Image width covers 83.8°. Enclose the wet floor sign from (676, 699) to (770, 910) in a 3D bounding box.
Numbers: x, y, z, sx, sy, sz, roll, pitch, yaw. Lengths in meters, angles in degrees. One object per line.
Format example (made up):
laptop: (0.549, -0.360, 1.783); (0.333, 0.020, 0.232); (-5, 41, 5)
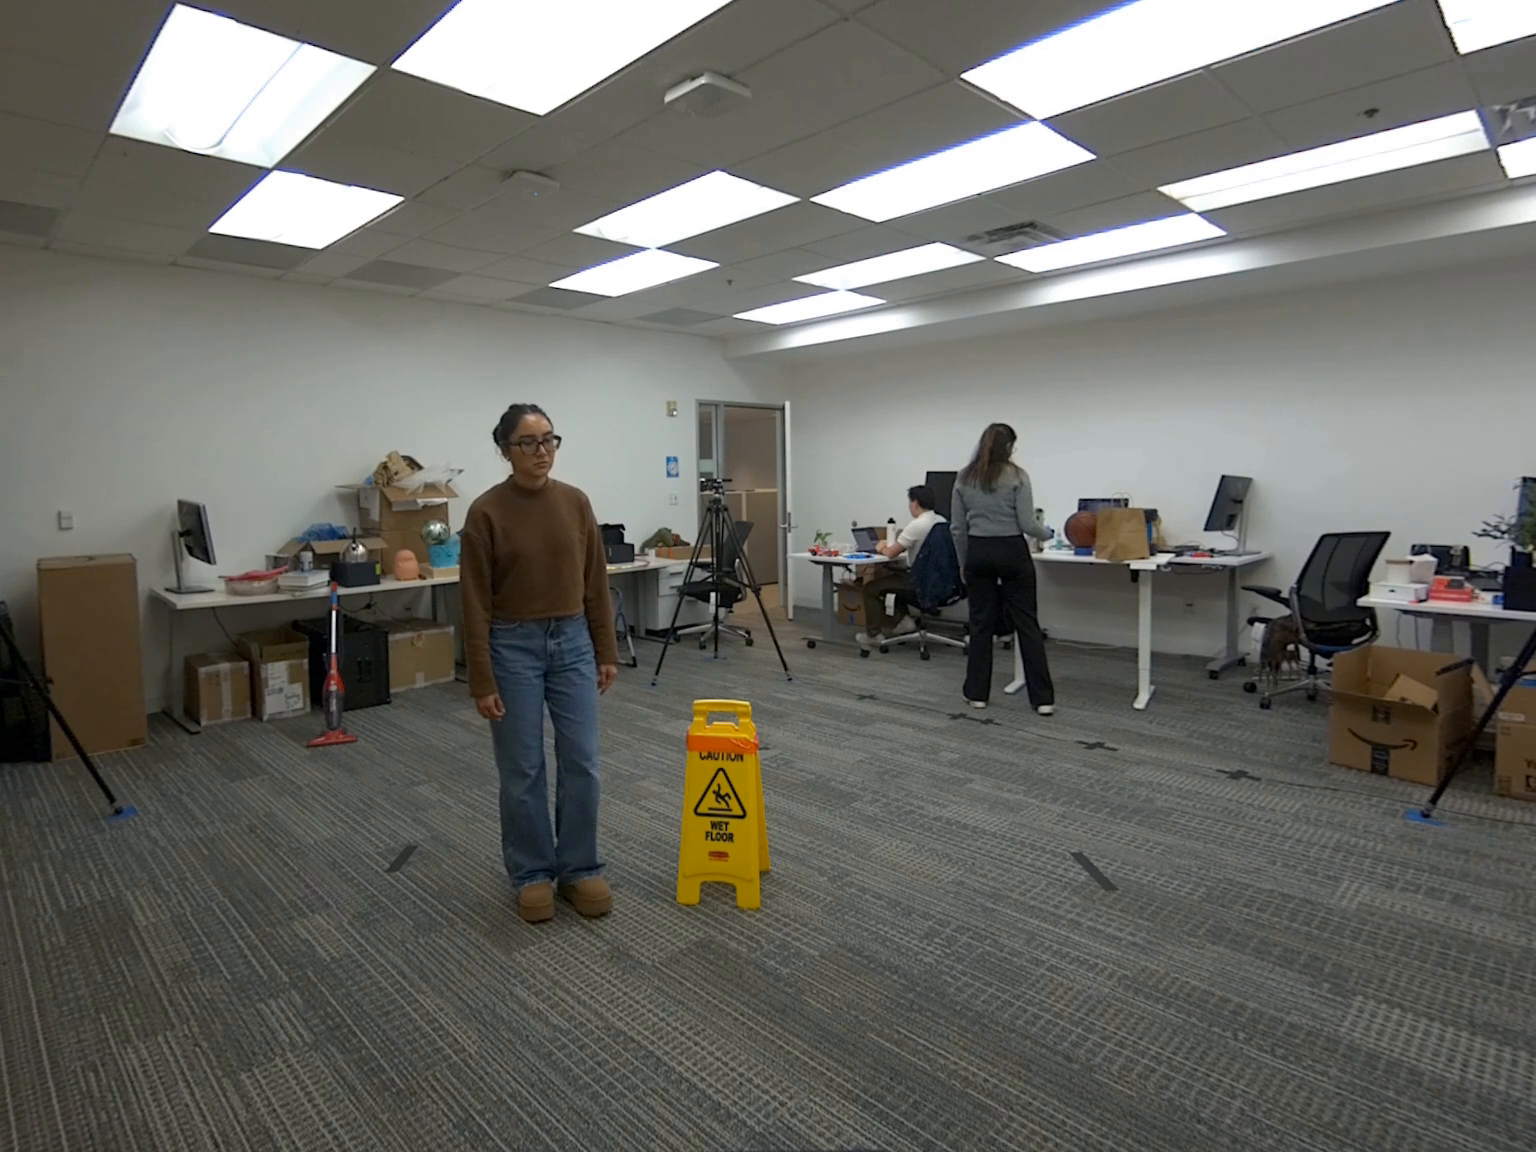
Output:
wet floor sign: (-0.145, 0.748, 2.912); (0.284, 0.643, 0.288); (-1, 4, 7)
